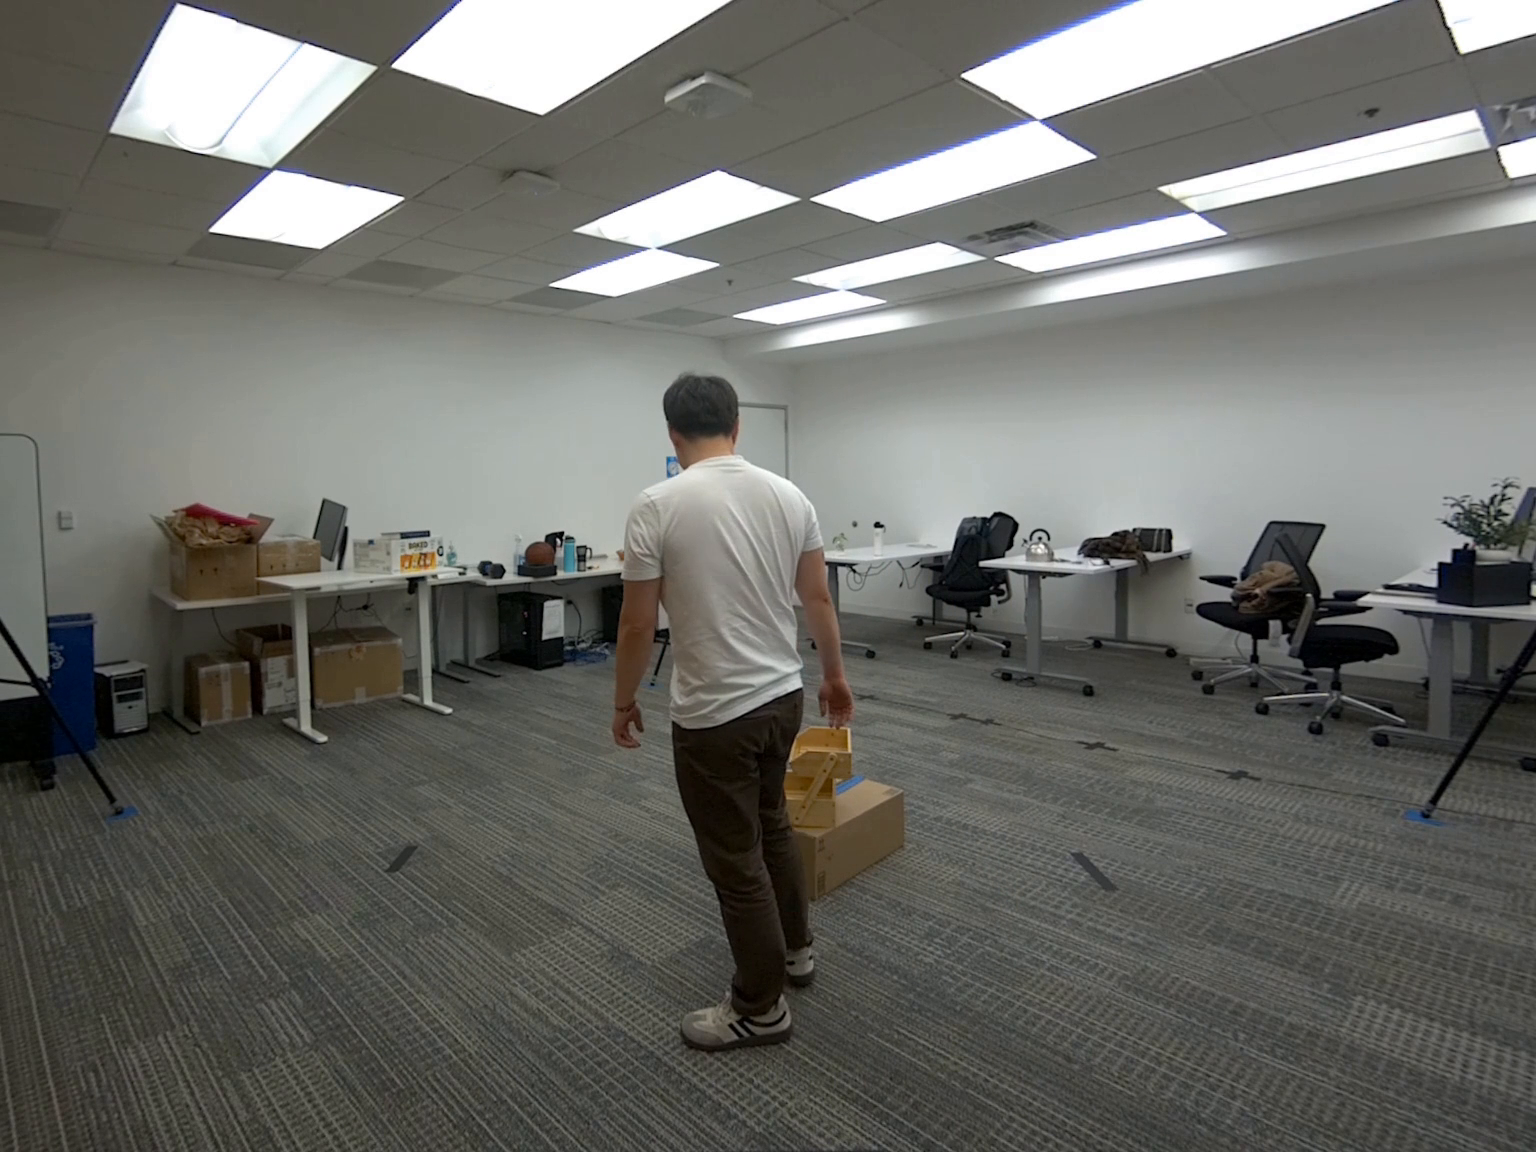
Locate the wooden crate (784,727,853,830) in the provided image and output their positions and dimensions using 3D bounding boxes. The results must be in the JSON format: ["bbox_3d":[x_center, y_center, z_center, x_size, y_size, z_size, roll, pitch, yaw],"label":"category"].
[{"bbox_3d":[0.141,0.698,3.044,0.304,0.272,0.323,1,4,6],"label":"wooden crate"}]
